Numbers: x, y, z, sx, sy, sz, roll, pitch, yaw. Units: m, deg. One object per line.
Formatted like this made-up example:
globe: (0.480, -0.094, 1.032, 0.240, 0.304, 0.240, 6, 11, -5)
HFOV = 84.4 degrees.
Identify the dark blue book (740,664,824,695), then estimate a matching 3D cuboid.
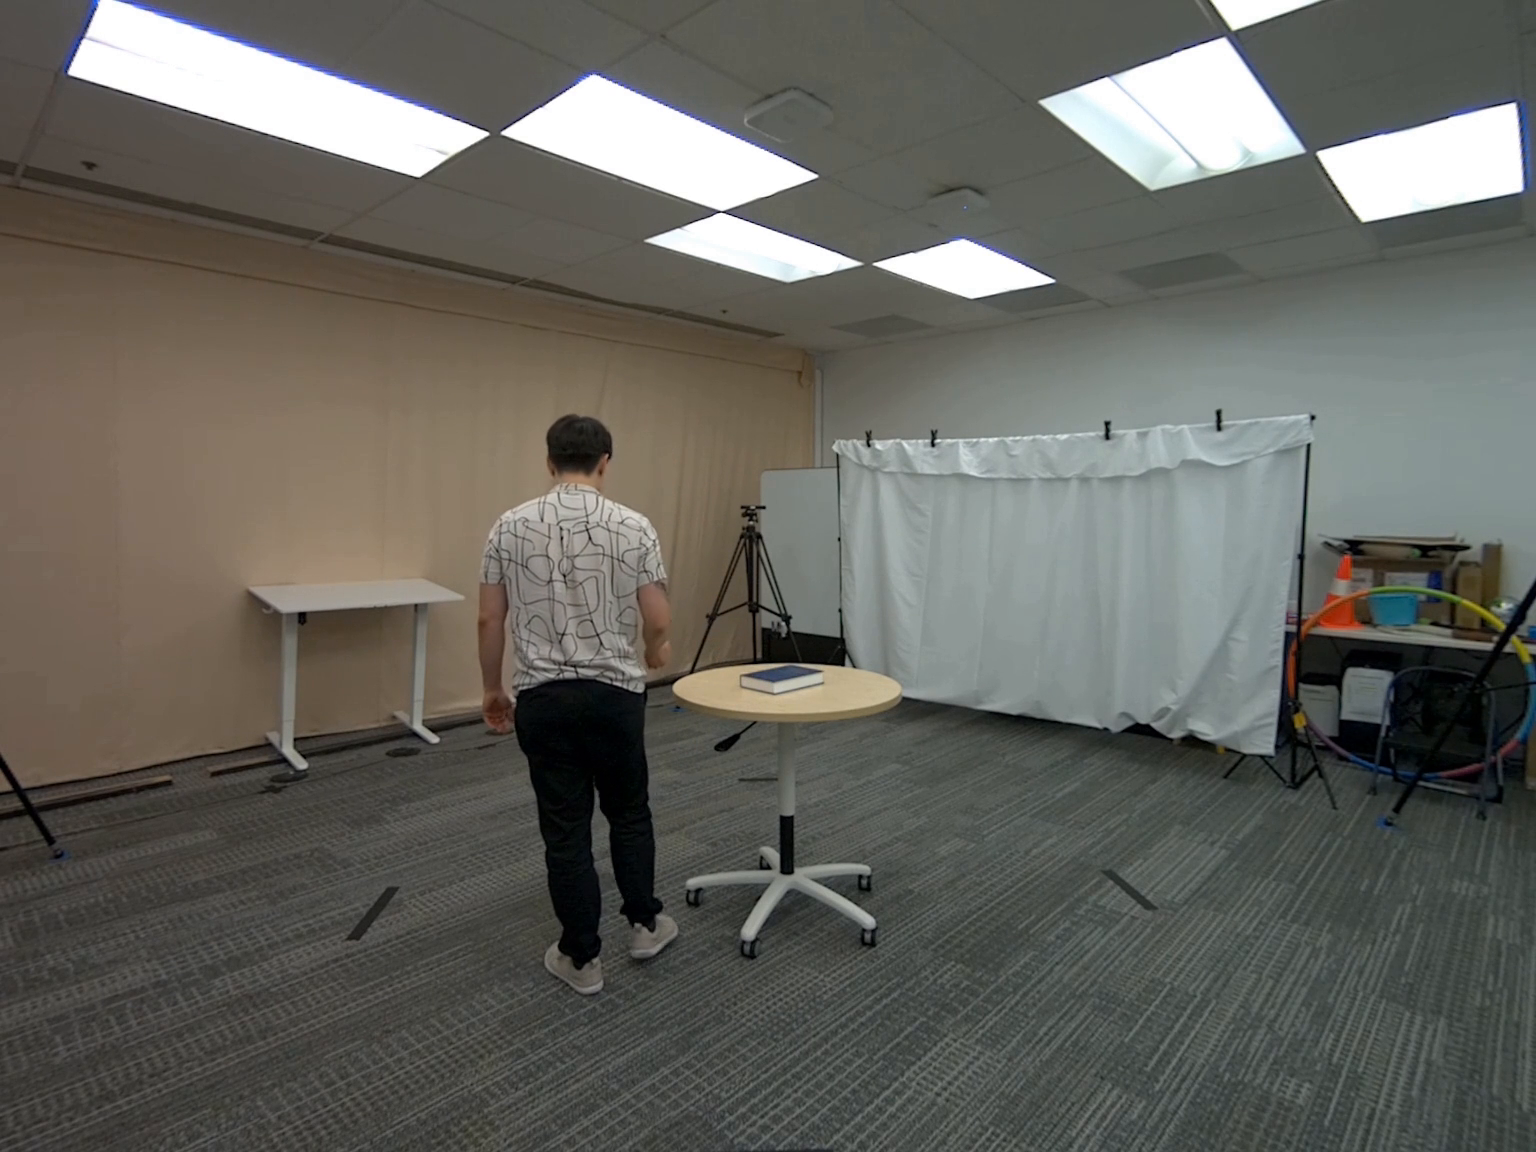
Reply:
dark blue book: (0.056, 0.355, 2.837, 0.238, 0.045, 0.169, -5, 7, -43)
